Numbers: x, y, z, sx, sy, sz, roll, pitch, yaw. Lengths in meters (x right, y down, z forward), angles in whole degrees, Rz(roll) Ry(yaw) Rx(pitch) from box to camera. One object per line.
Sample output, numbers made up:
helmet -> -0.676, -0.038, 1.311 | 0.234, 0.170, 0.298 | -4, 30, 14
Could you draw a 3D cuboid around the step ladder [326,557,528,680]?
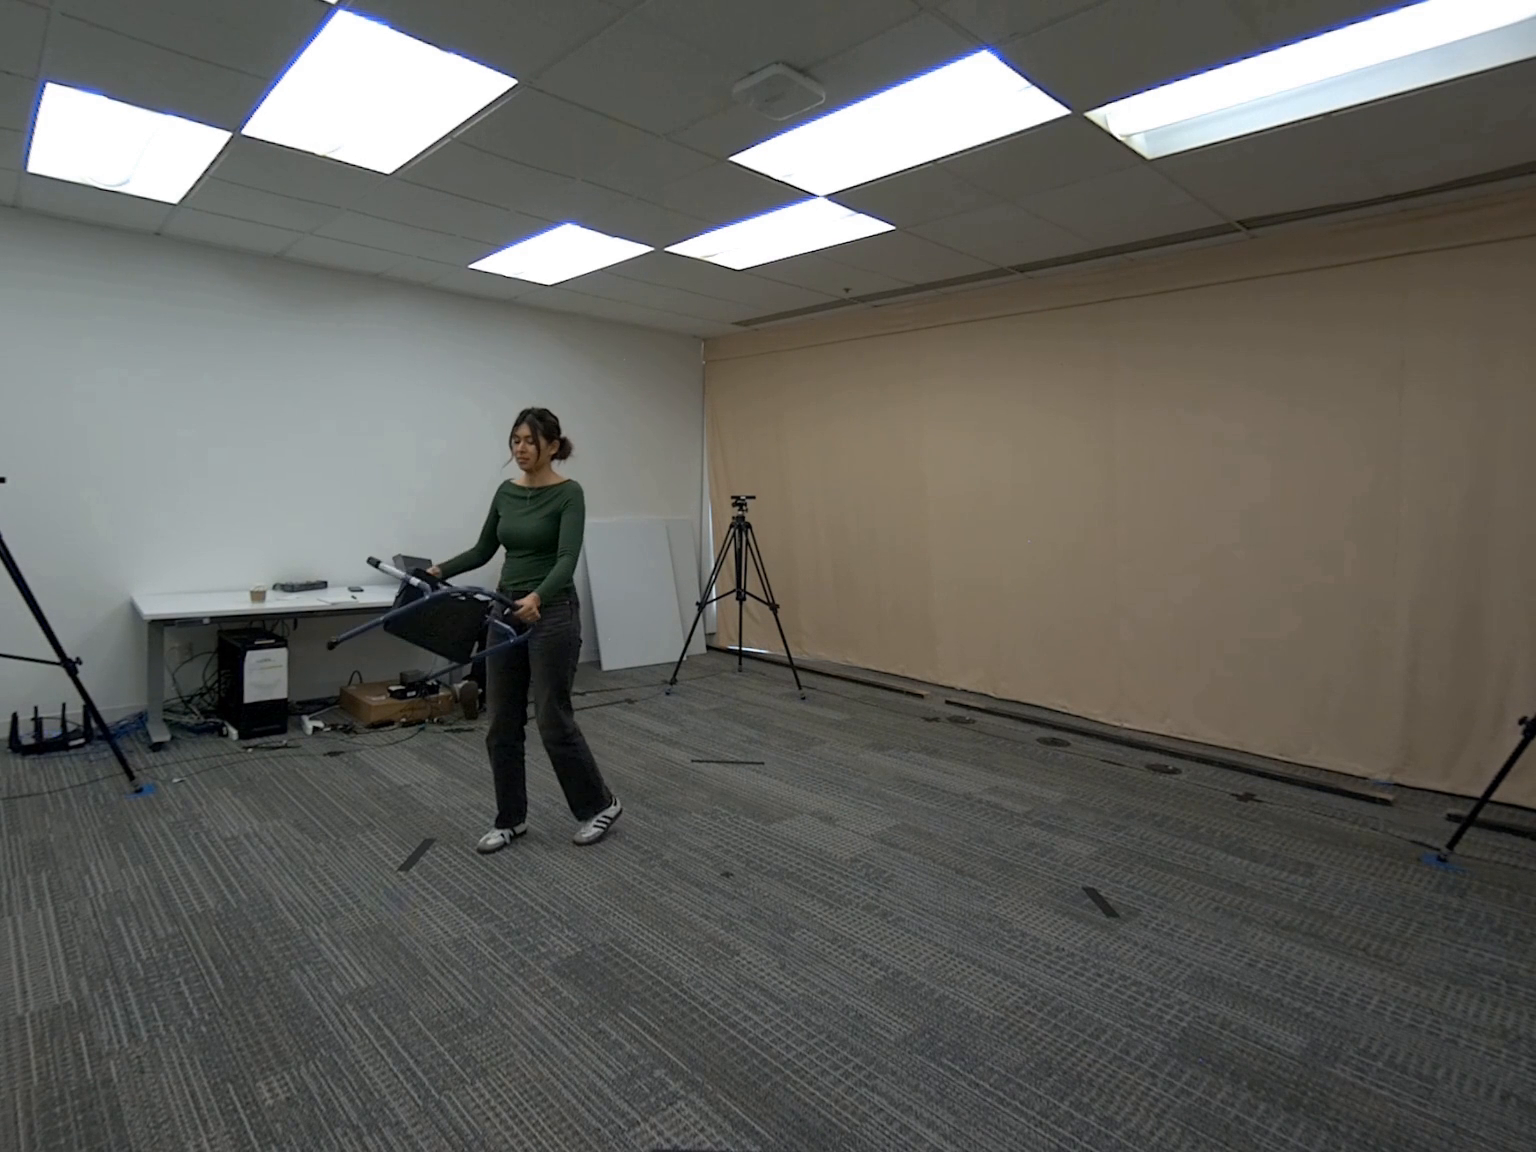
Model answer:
step ladder -> -1.126, 0.160, 2.935 | 0.619, 0.353, 0.417 | -1, -25, 34
